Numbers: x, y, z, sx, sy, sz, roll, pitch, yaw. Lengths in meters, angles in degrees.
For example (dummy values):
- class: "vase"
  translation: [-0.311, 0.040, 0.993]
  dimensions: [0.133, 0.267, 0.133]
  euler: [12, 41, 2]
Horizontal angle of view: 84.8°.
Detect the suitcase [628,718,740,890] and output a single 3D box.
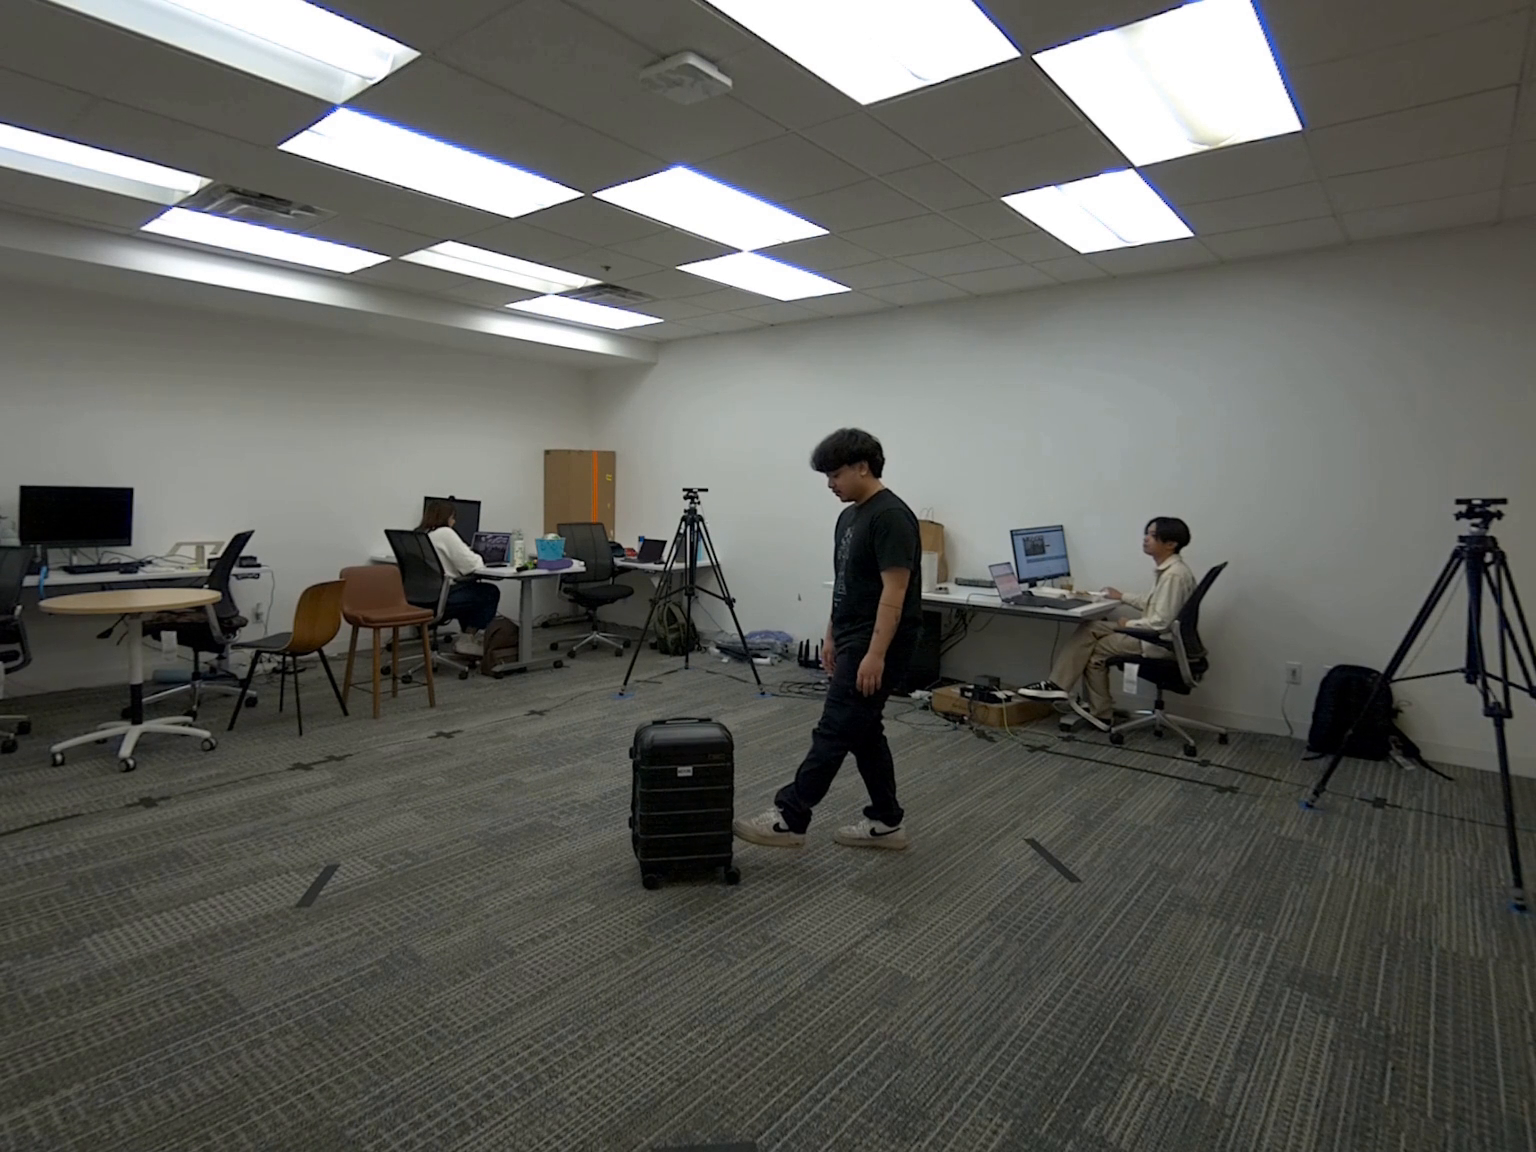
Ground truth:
- class: "suitcase"
  translation: [-0.311, 0.796, 3.067]
  dimensions: [0.371, 0.548, 0.252]
  euler: [1, 3, -12]
